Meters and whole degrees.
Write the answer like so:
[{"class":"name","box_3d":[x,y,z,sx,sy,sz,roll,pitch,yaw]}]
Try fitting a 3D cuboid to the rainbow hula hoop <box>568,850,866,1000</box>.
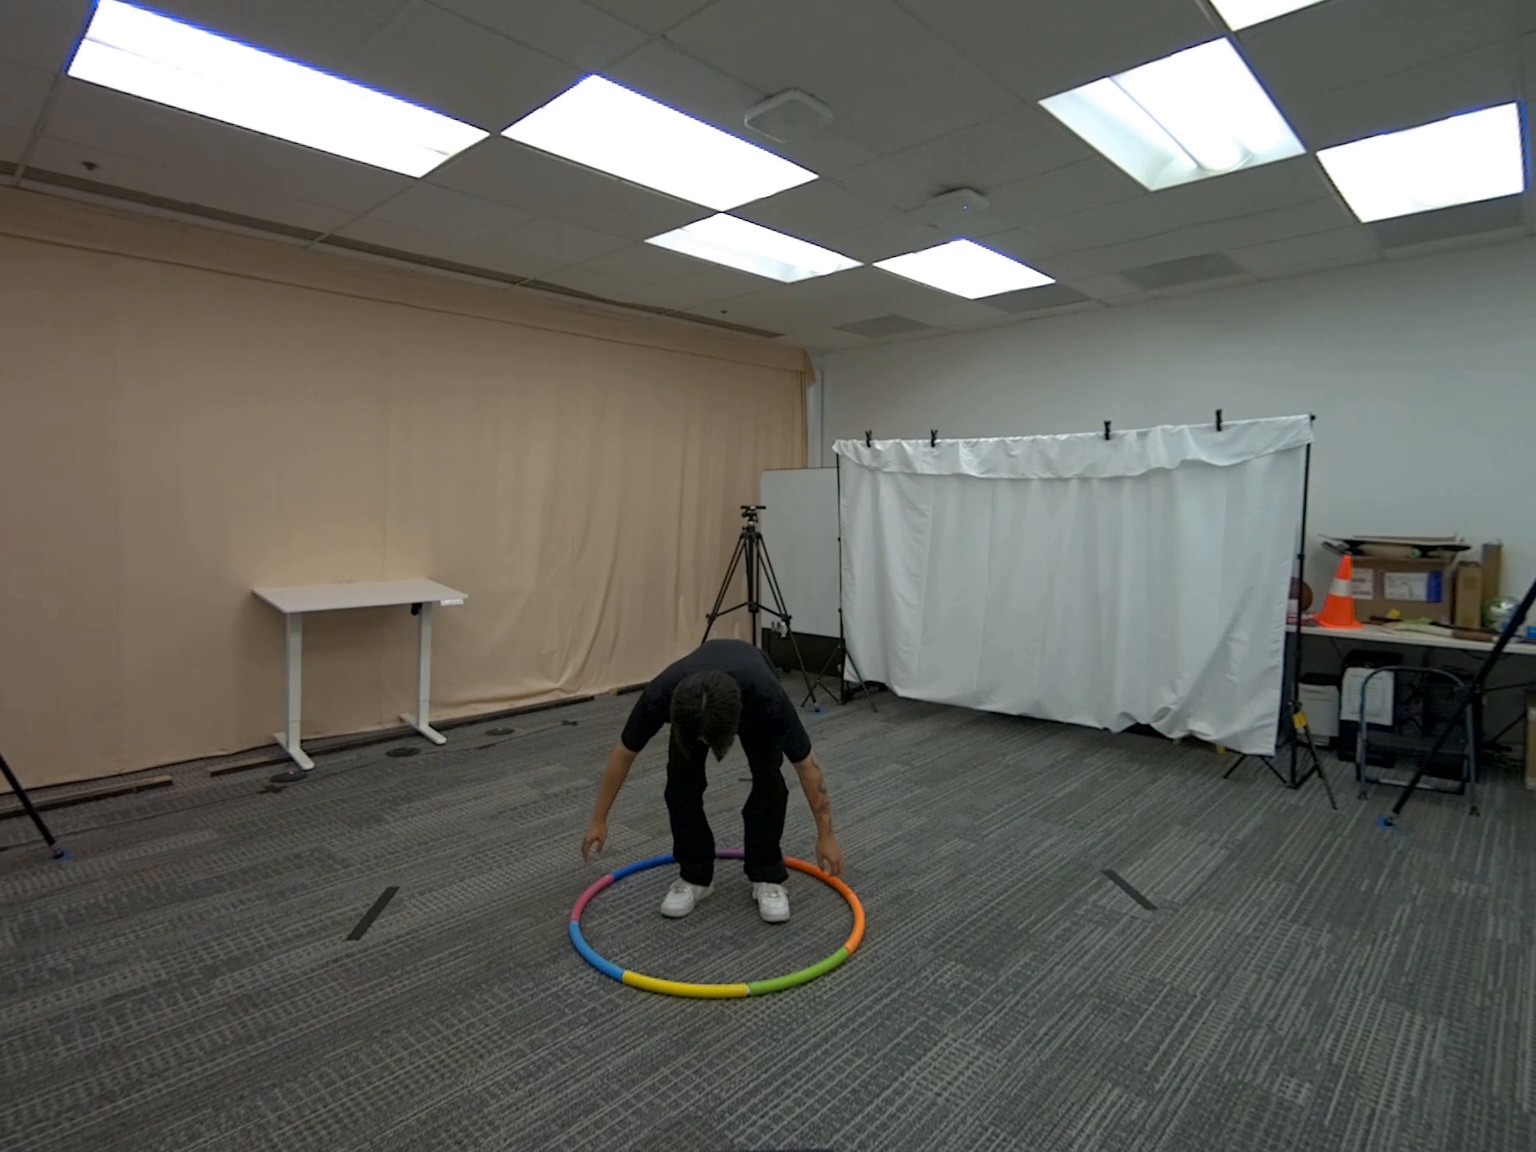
[{"class":"rainbow hula hoop","box_3d":[-0.170,1.127,2.859,0.978,0.035,0.982,-1,4,-2]}]
